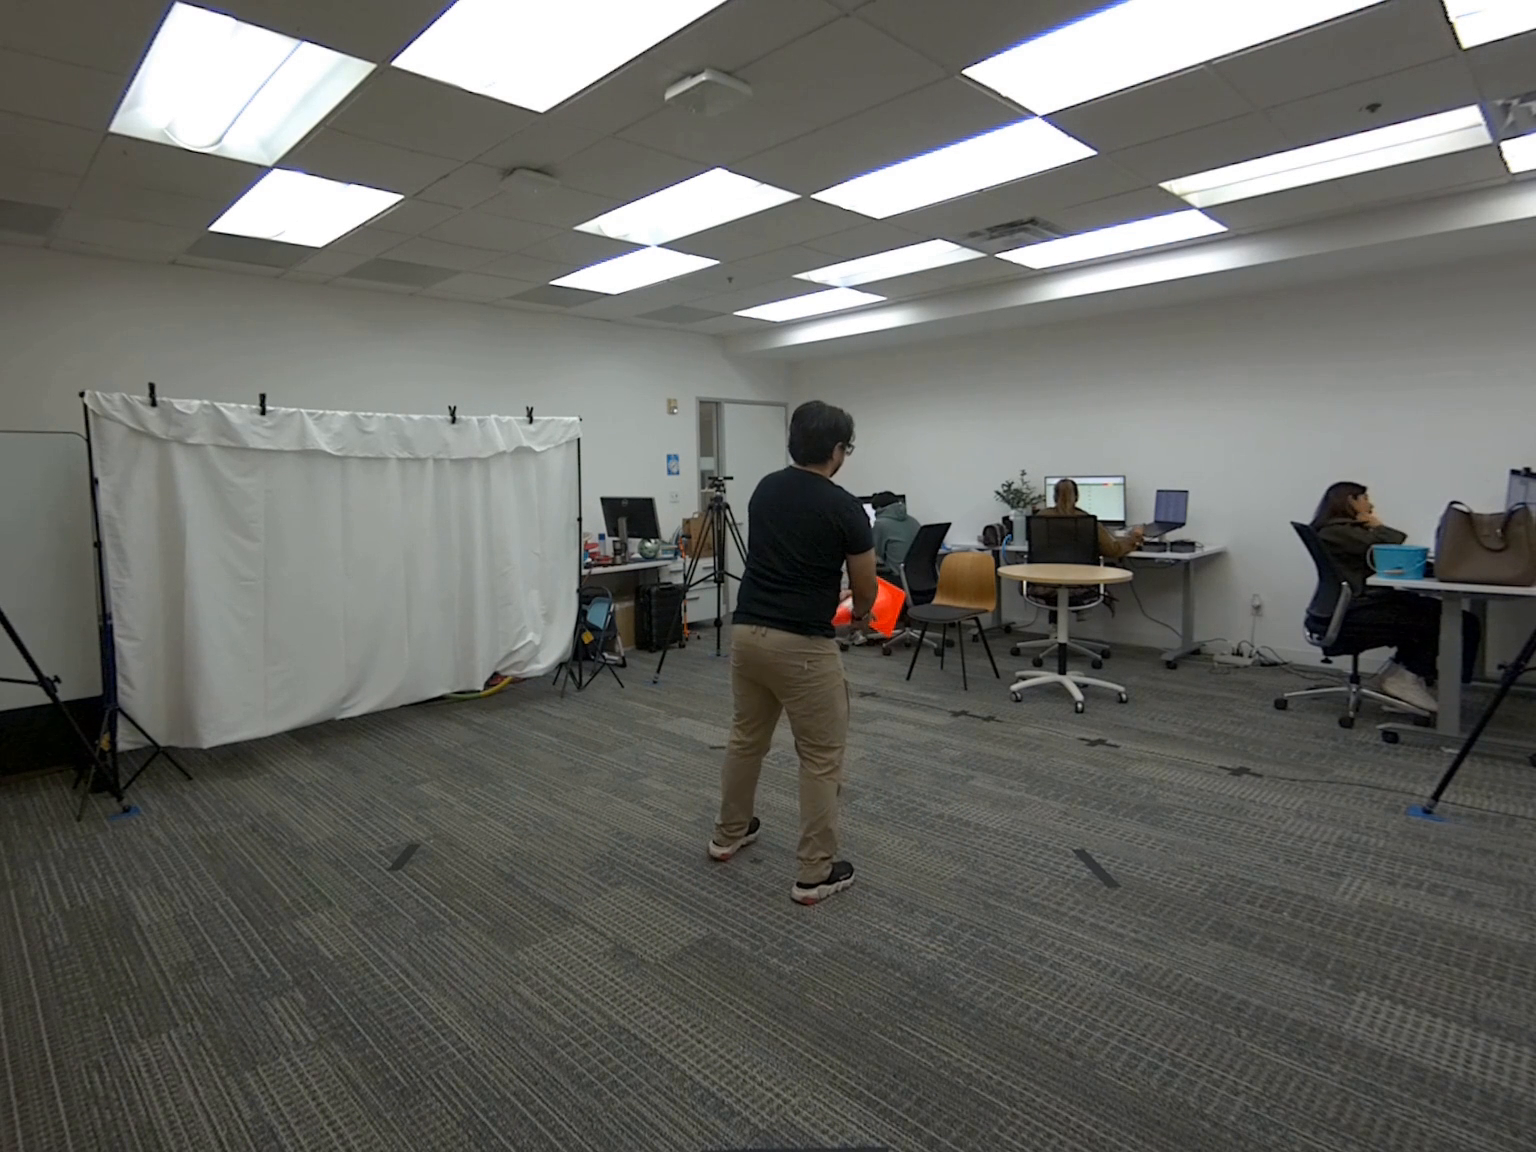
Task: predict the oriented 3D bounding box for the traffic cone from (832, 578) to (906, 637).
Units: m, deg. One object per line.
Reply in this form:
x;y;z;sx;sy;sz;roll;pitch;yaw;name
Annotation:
0.318;0.129;3.195;0.212;0.201;0.375;30;24;30;traffic cone
